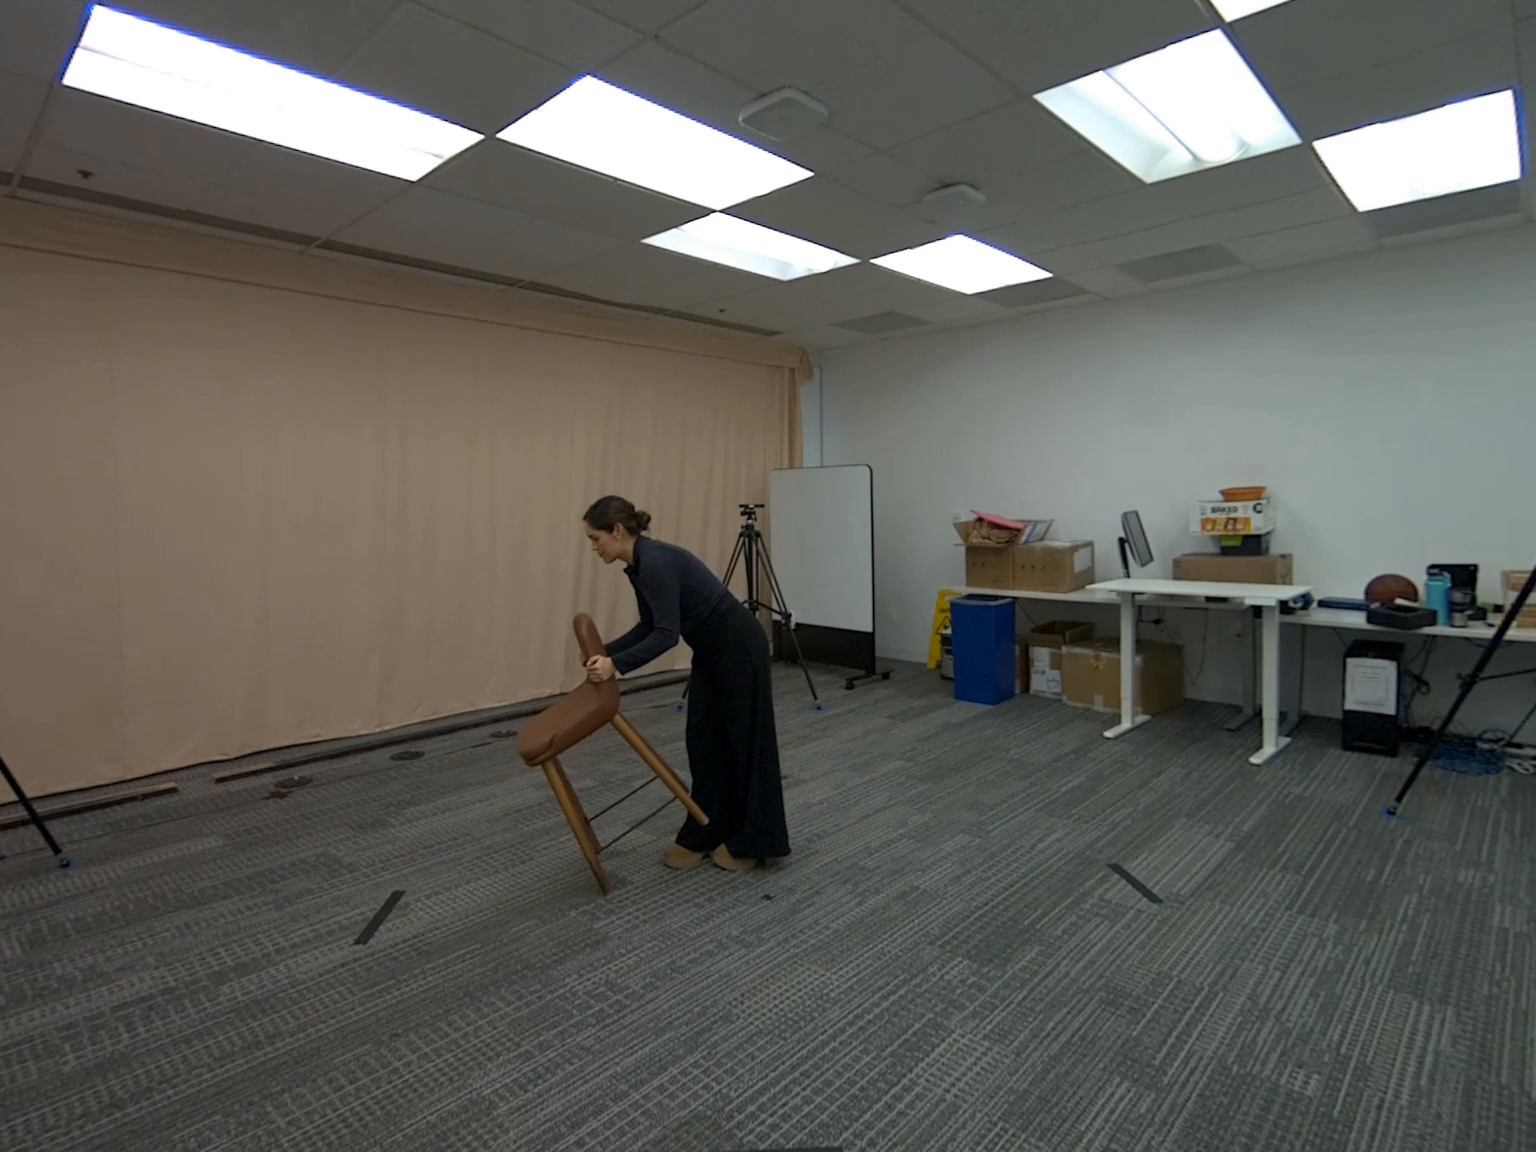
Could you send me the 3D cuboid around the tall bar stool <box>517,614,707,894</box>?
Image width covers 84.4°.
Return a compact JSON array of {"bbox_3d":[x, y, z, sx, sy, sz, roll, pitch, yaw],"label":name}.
[{"bbox_3d":[-0.669,0.645,3.190,0.464,0.882,0.464,-31,9,-12],"label":"tall bar stool"}]
